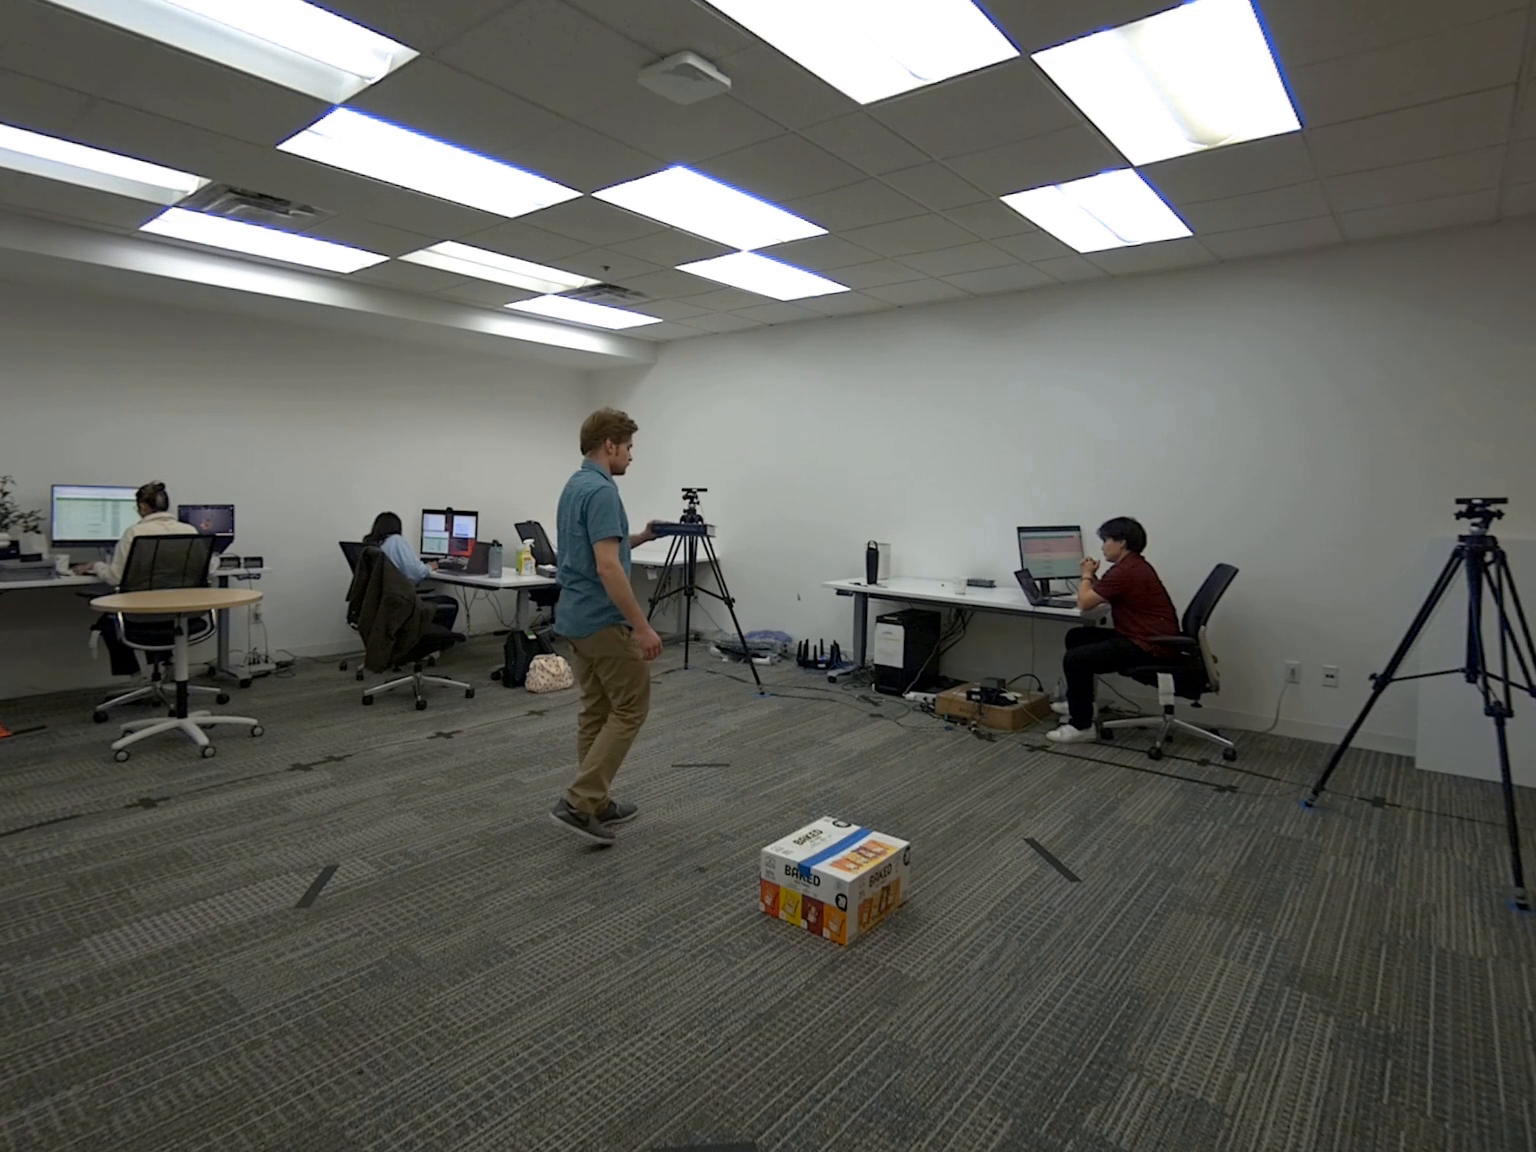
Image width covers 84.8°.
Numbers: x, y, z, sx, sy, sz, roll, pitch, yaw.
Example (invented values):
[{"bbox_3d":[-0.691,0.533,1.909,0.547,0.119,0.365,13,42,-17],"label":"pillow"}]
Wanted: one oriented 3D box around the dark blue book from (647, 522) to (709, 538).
[{"bbox_3d":[-0.395,-0.200,3.609,0.248,0.045,0.161,2,0,10],"label":"dark blue book"}]
